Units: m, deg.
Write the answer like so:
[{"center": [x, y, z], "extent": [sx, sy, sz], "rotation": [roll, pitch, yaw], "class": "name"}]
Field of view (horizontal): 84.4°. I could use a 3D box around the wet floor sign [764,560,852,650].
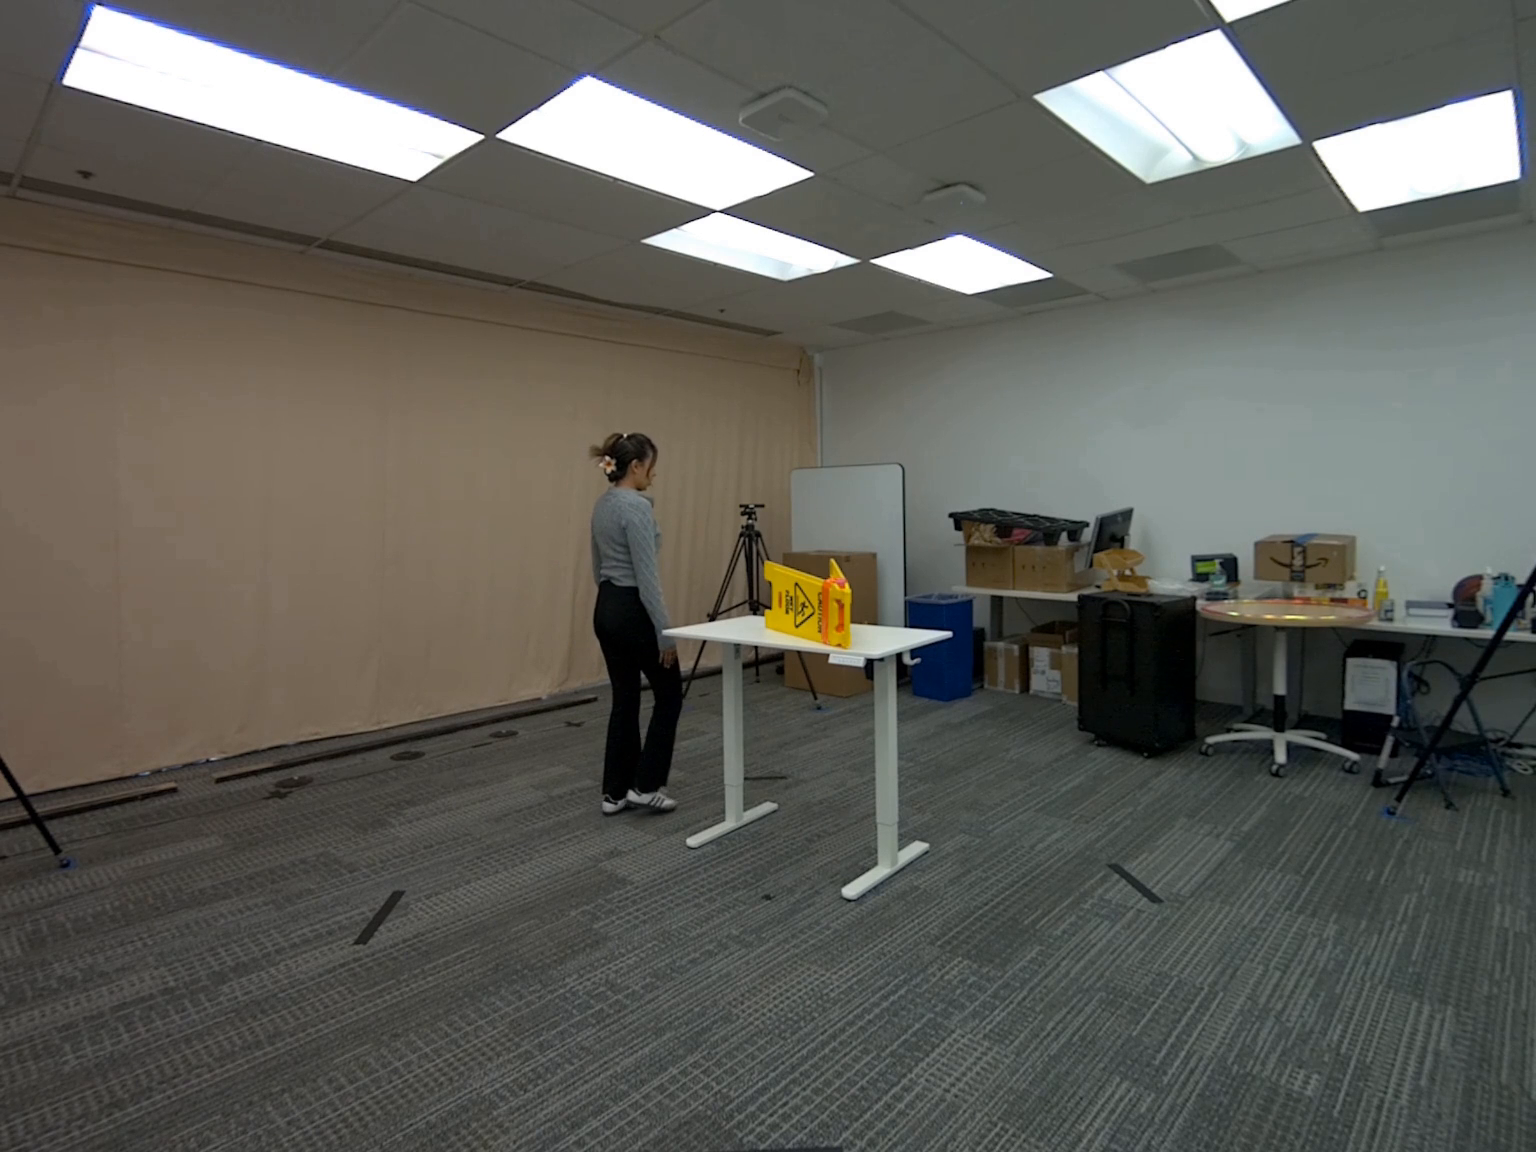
[{"center": [0.211, 0.112, 3.213], "extent": [0.286, 0.281, 0.657], "rotation": [-2, 7, -13], "class": "wet floor sign"}]
